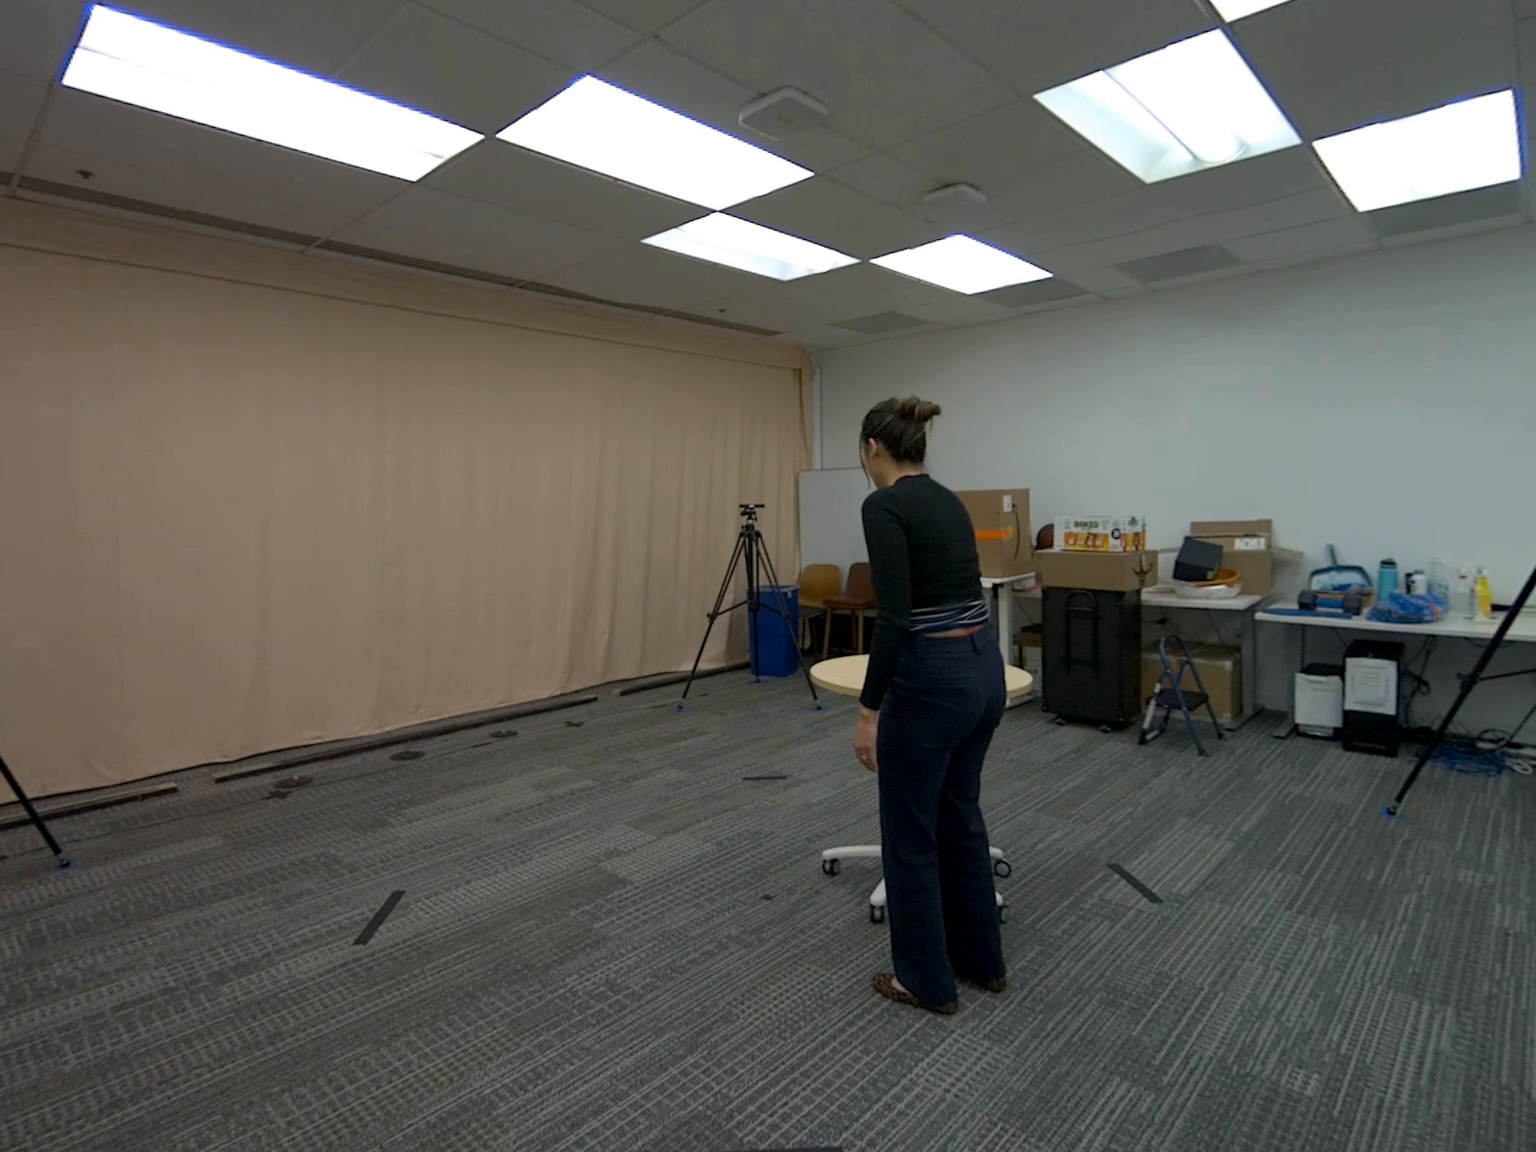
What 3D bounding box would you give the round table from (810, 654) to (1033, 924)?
[{"bbox_3d":[0.548,0.737,3.024,0.763,0.792,0.766,0,4,-2],"label":"round table"}]
